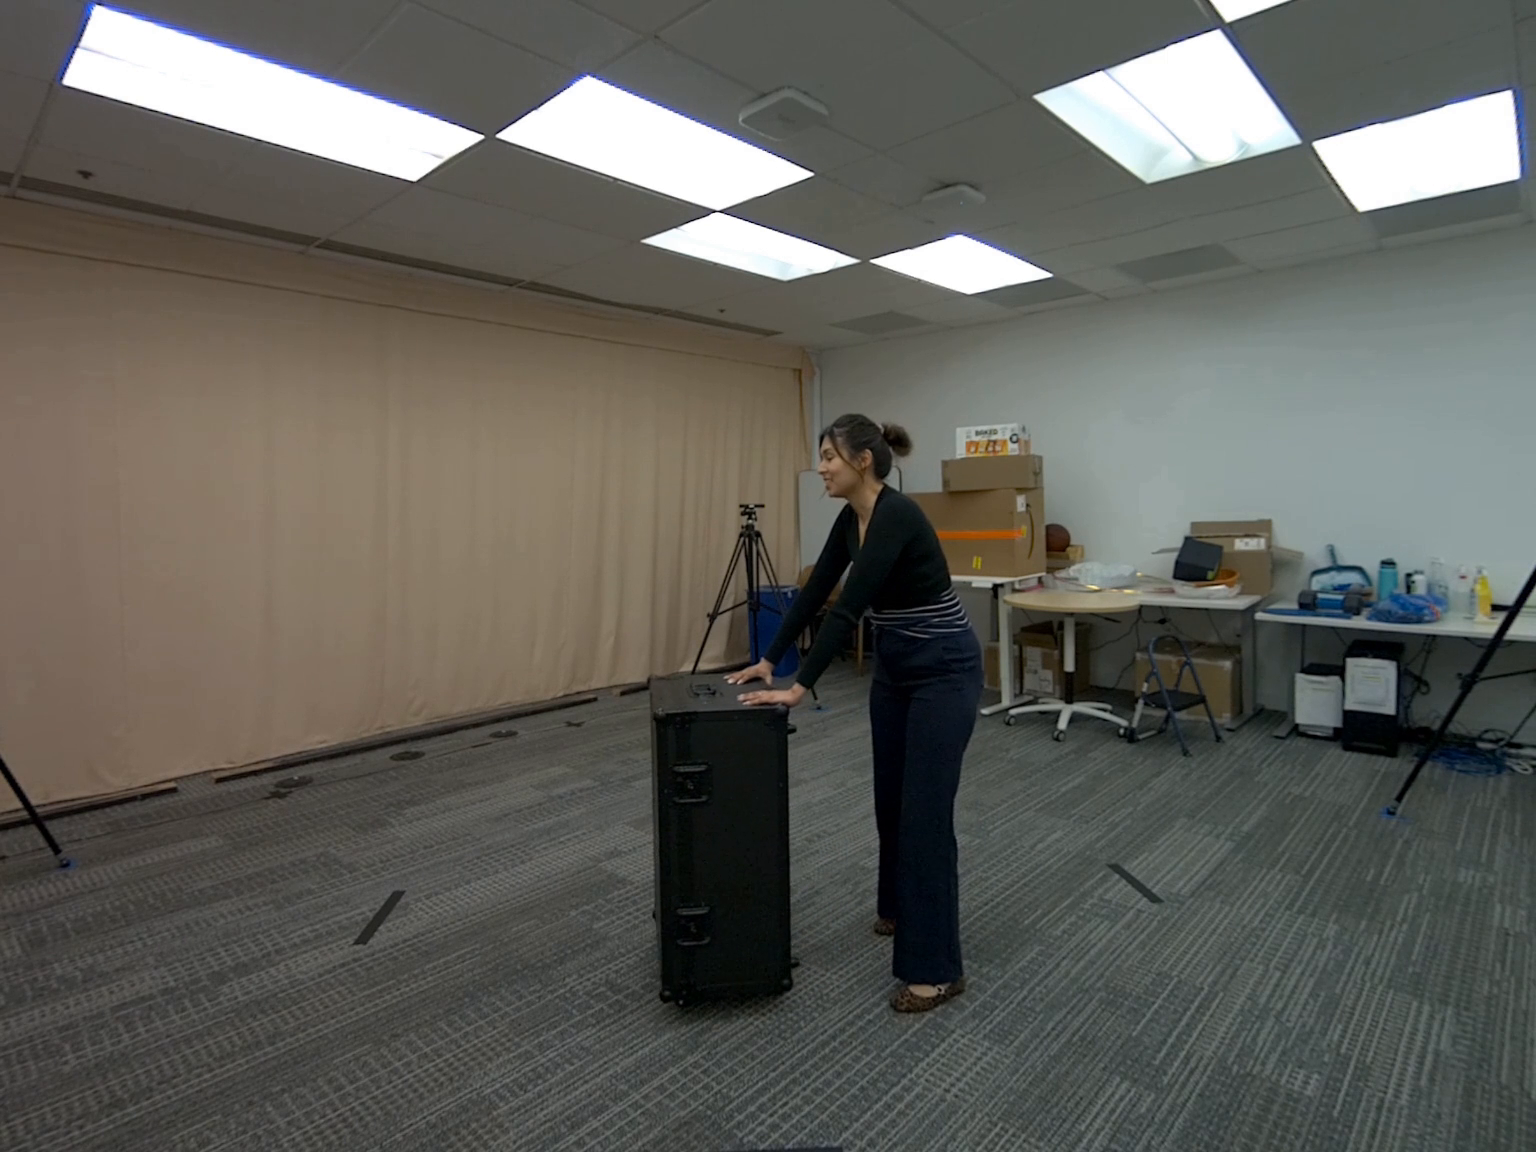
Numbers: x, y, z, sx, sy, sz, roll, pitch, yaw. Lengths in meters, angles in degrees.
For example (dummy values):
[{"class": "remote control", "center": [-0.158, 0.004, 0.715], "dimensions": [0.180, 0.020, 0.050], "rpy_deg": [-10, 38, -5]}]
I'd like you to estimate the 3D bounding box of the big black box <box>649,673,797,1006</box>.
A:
[{"class": "big black box", "center": [-0.143, 0.759, 2.487], "dimensions": [0.393, 0.860, 0.526], "rpy_deg": [-1, 2, -9]}]
